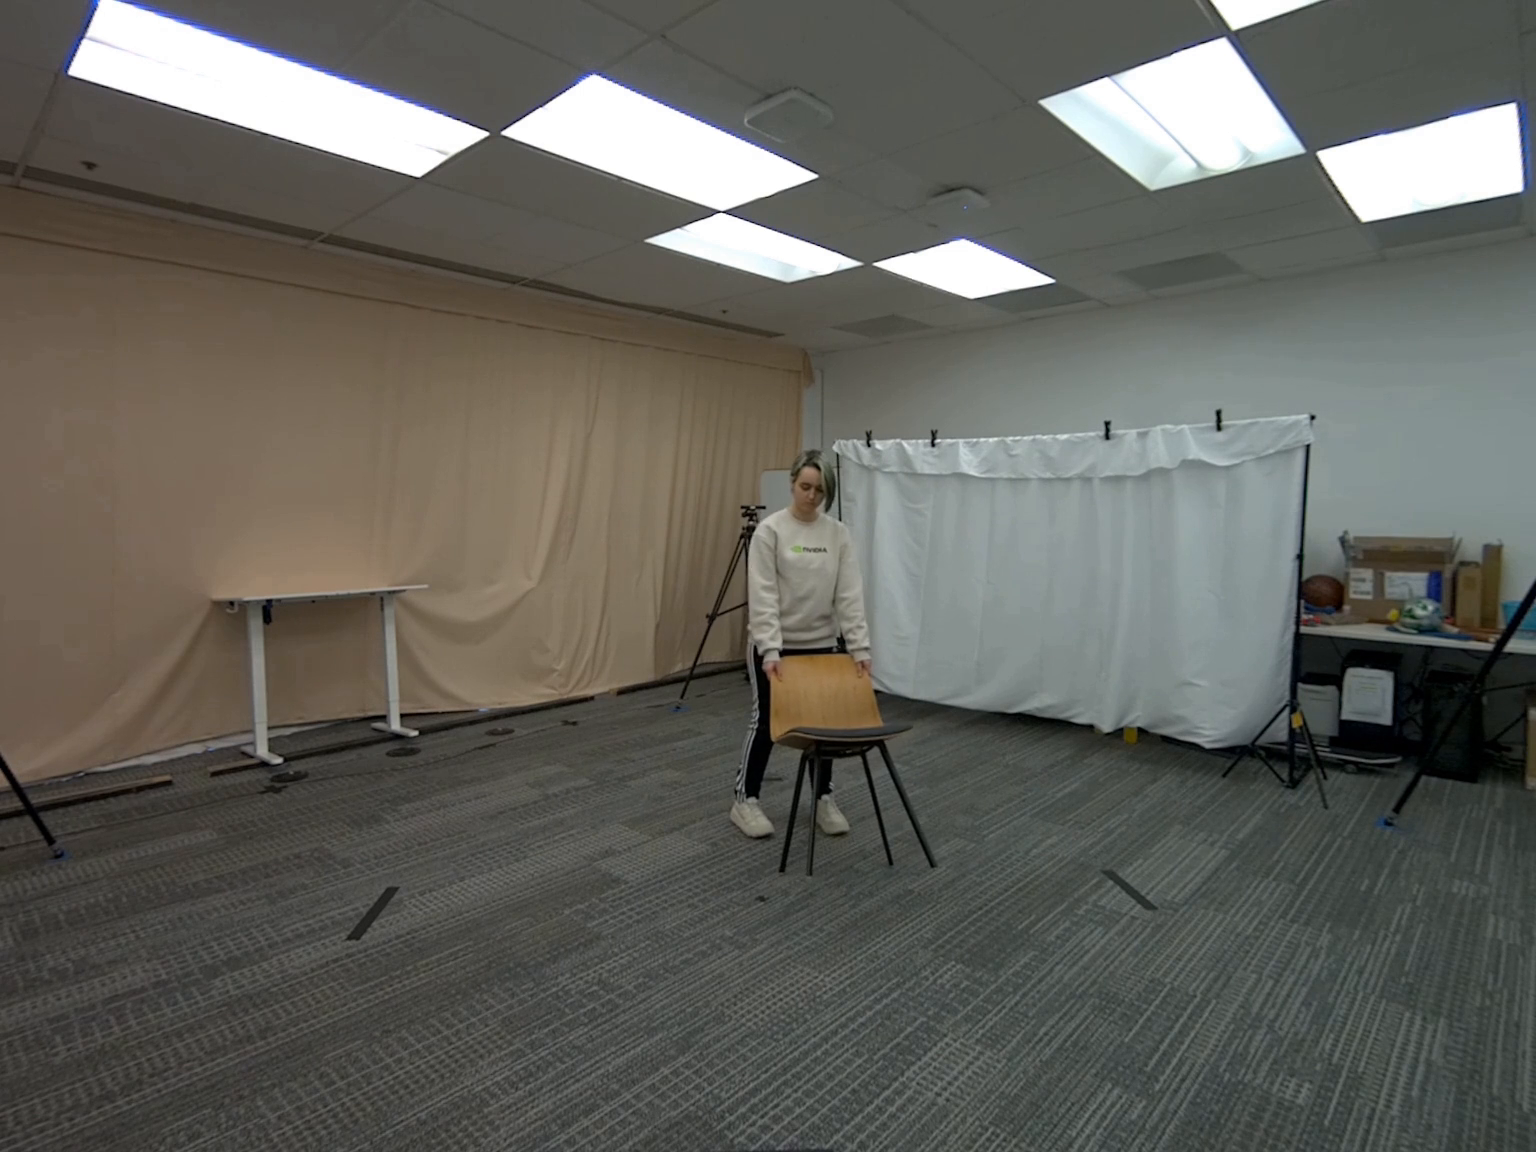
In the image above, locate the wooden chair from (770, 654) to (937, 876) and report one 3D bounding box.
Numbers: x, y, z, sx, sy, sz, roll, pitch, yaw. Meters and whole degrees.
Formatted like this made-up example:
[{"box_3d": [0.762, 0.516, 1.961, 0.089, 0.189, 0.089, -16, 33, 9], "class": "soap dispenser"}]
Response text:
[{"box_3d": [0.279, 0.650, 3.134, 0.473, 0.891, 0.521, -1, -23, -11], "class": "wooden chair"}]
